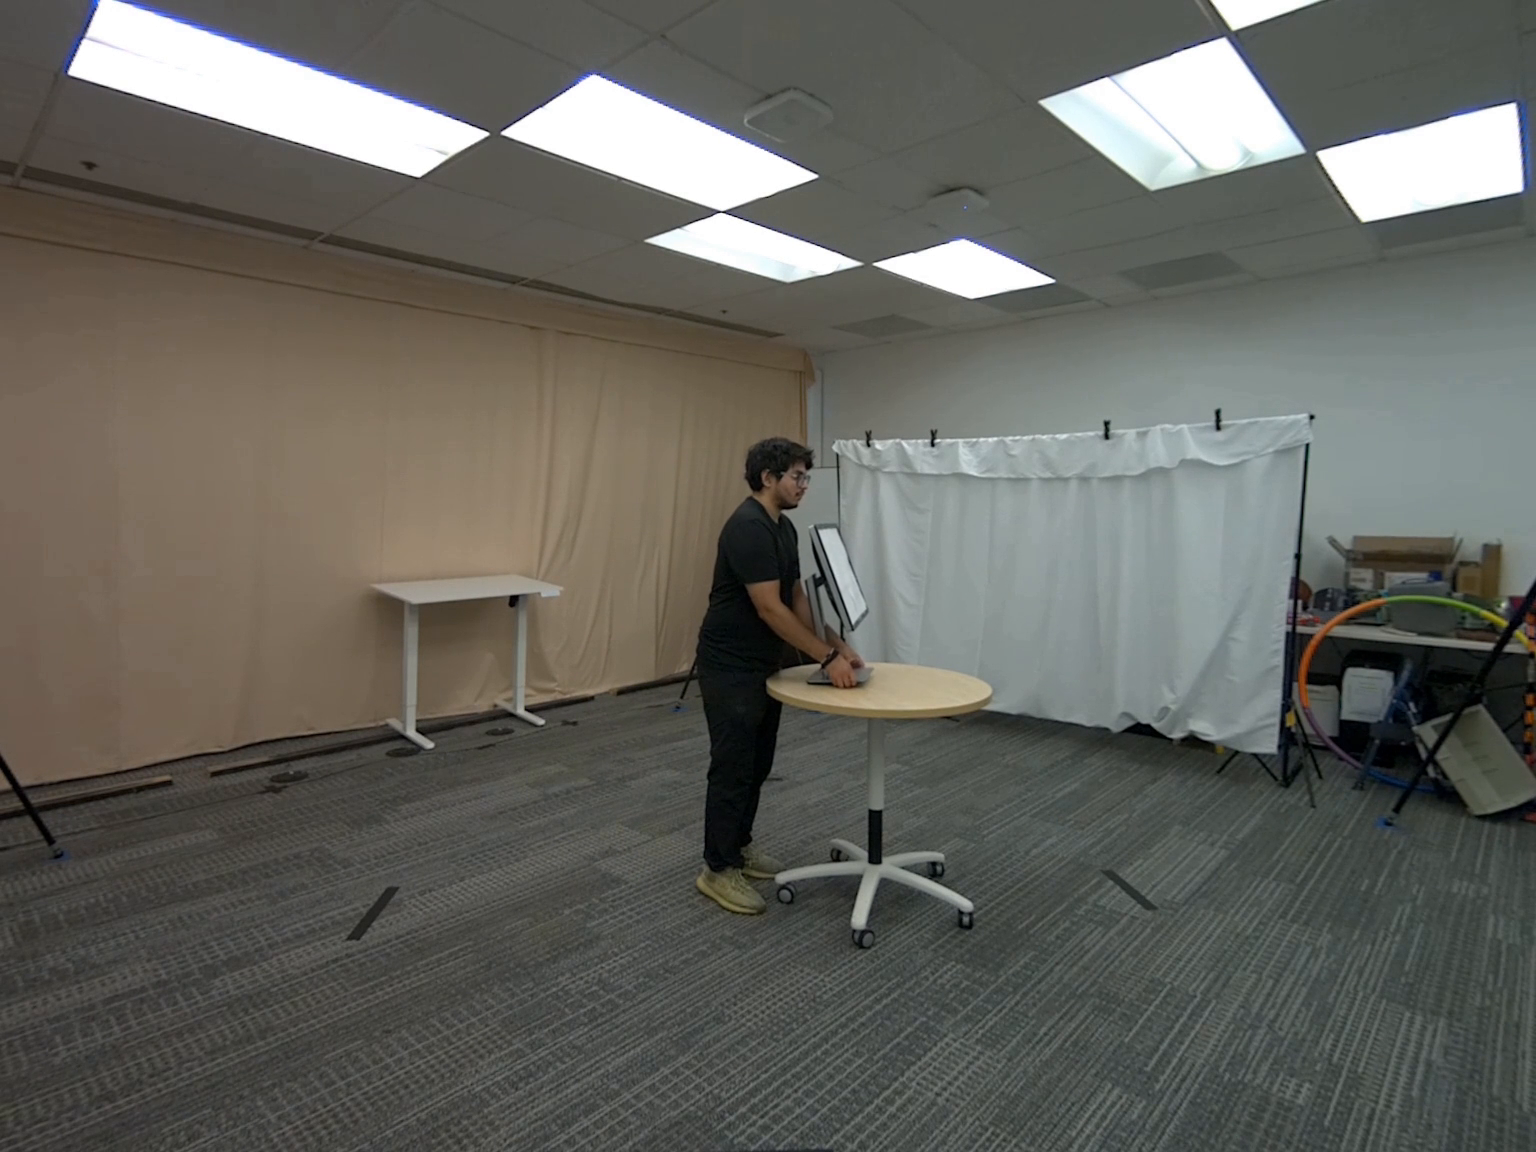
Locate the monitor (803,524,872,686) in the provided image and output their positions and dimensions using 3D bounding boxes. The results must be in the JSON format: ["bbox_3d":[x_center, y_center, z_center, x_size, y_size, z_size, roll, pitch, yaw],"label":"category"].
[{"bbox_3d":[0.213,0.095,2.968,0.213,0.554,0.557,-12,1,14],"label":"monitor"}]
